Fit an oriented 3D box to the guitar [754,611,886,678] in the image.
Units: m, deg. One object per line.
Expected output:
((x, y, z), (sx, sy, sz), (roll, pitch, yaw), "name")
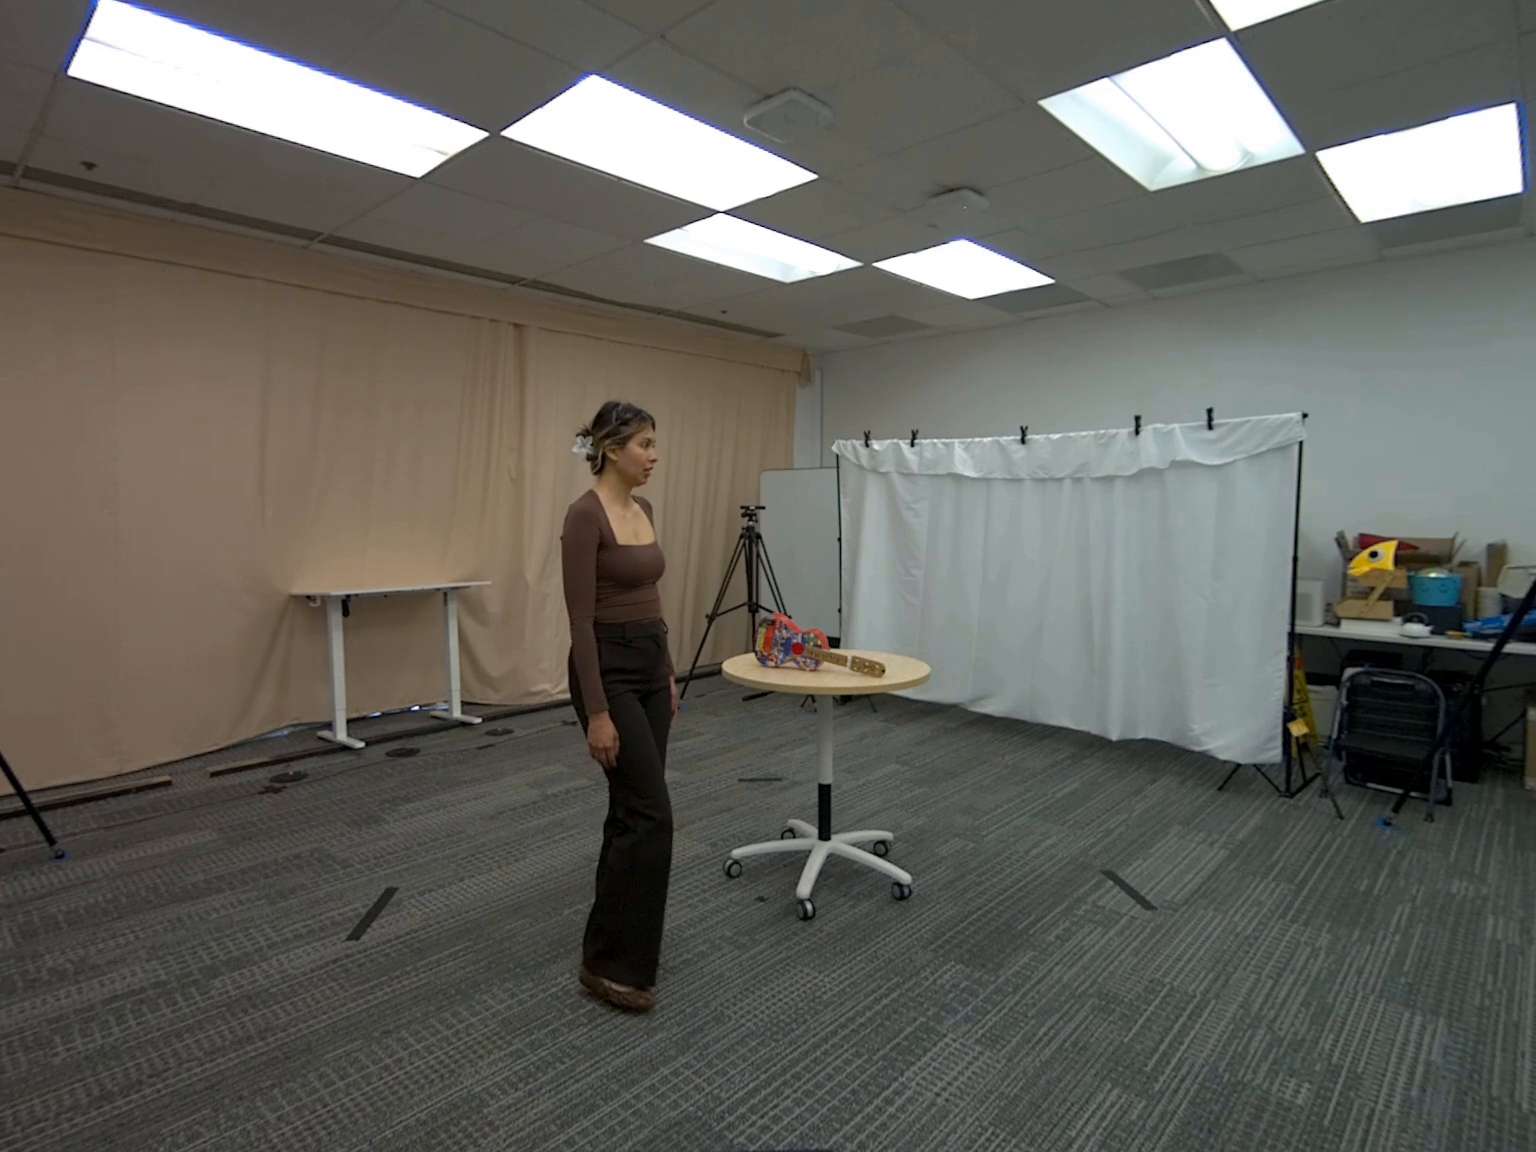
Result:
((0.184, 0.302, 3.027), (0.512, 0.192, 0.069), (22, 11, 24), "guitar")
